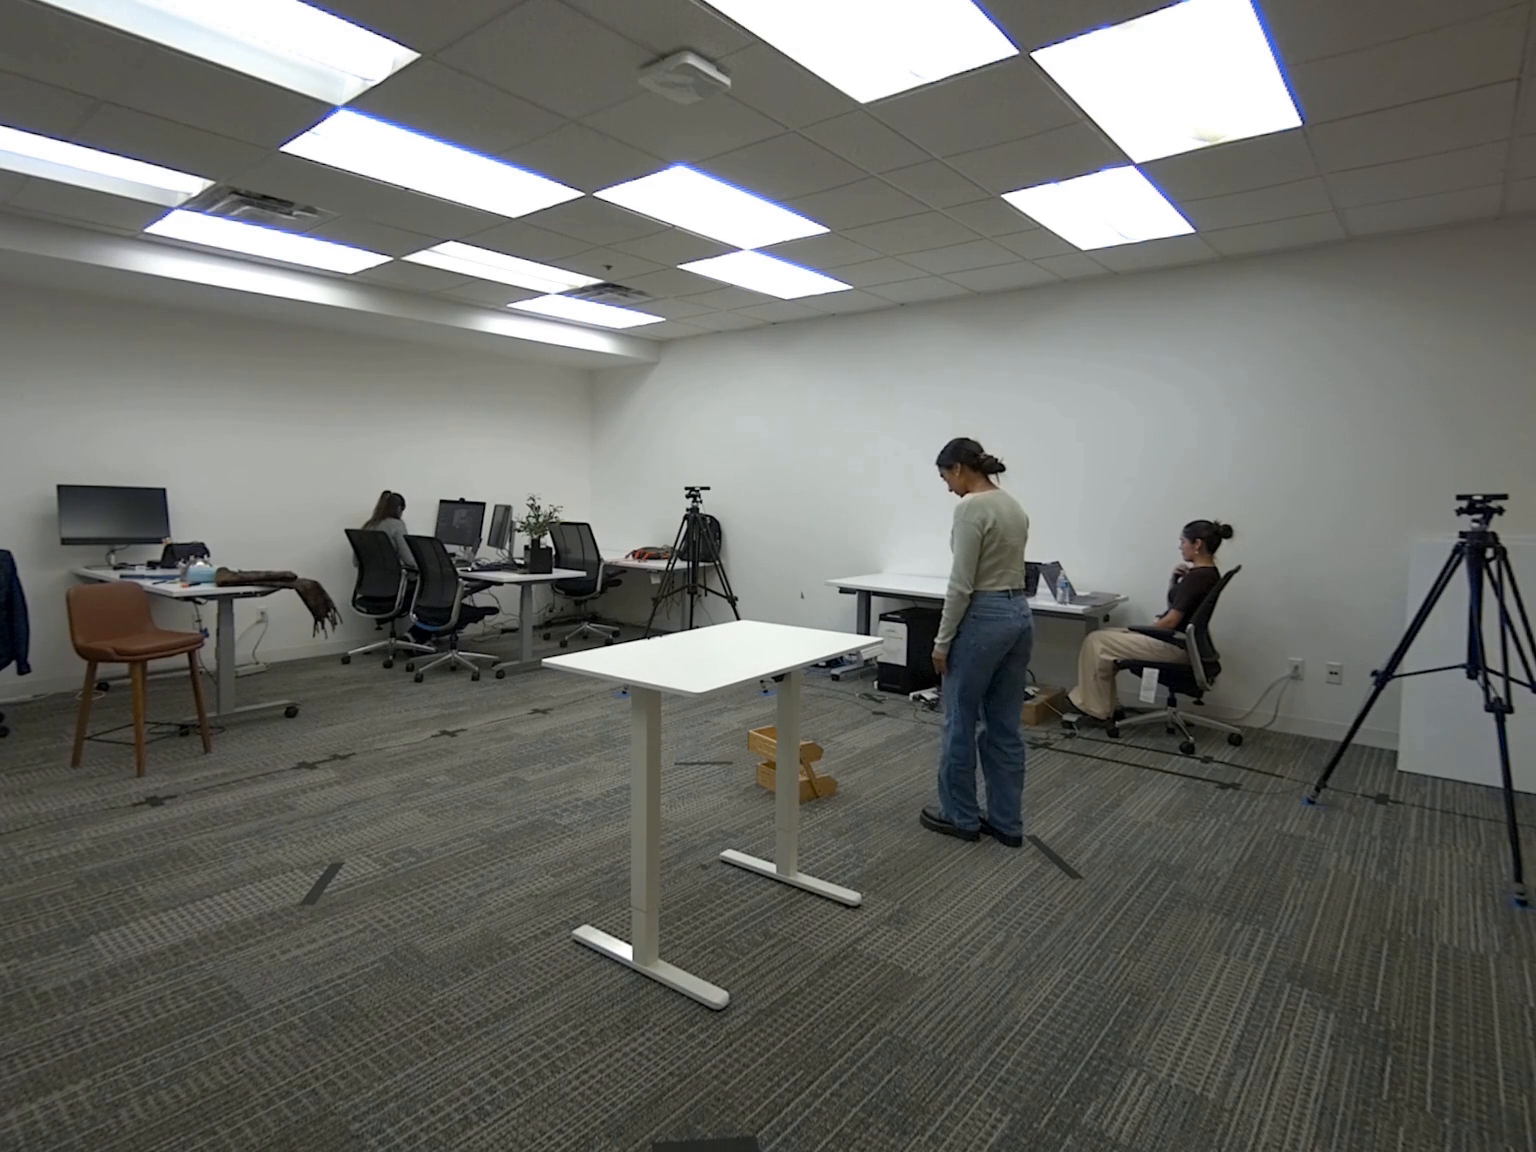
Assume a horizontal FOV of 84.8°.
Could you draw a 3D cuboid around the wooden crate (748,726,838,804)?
[{"bbox_3d":[0.108,0.853,3.954,0.293,0.272,0.335,-3,7,-37],"label":"wooden crate"}]
